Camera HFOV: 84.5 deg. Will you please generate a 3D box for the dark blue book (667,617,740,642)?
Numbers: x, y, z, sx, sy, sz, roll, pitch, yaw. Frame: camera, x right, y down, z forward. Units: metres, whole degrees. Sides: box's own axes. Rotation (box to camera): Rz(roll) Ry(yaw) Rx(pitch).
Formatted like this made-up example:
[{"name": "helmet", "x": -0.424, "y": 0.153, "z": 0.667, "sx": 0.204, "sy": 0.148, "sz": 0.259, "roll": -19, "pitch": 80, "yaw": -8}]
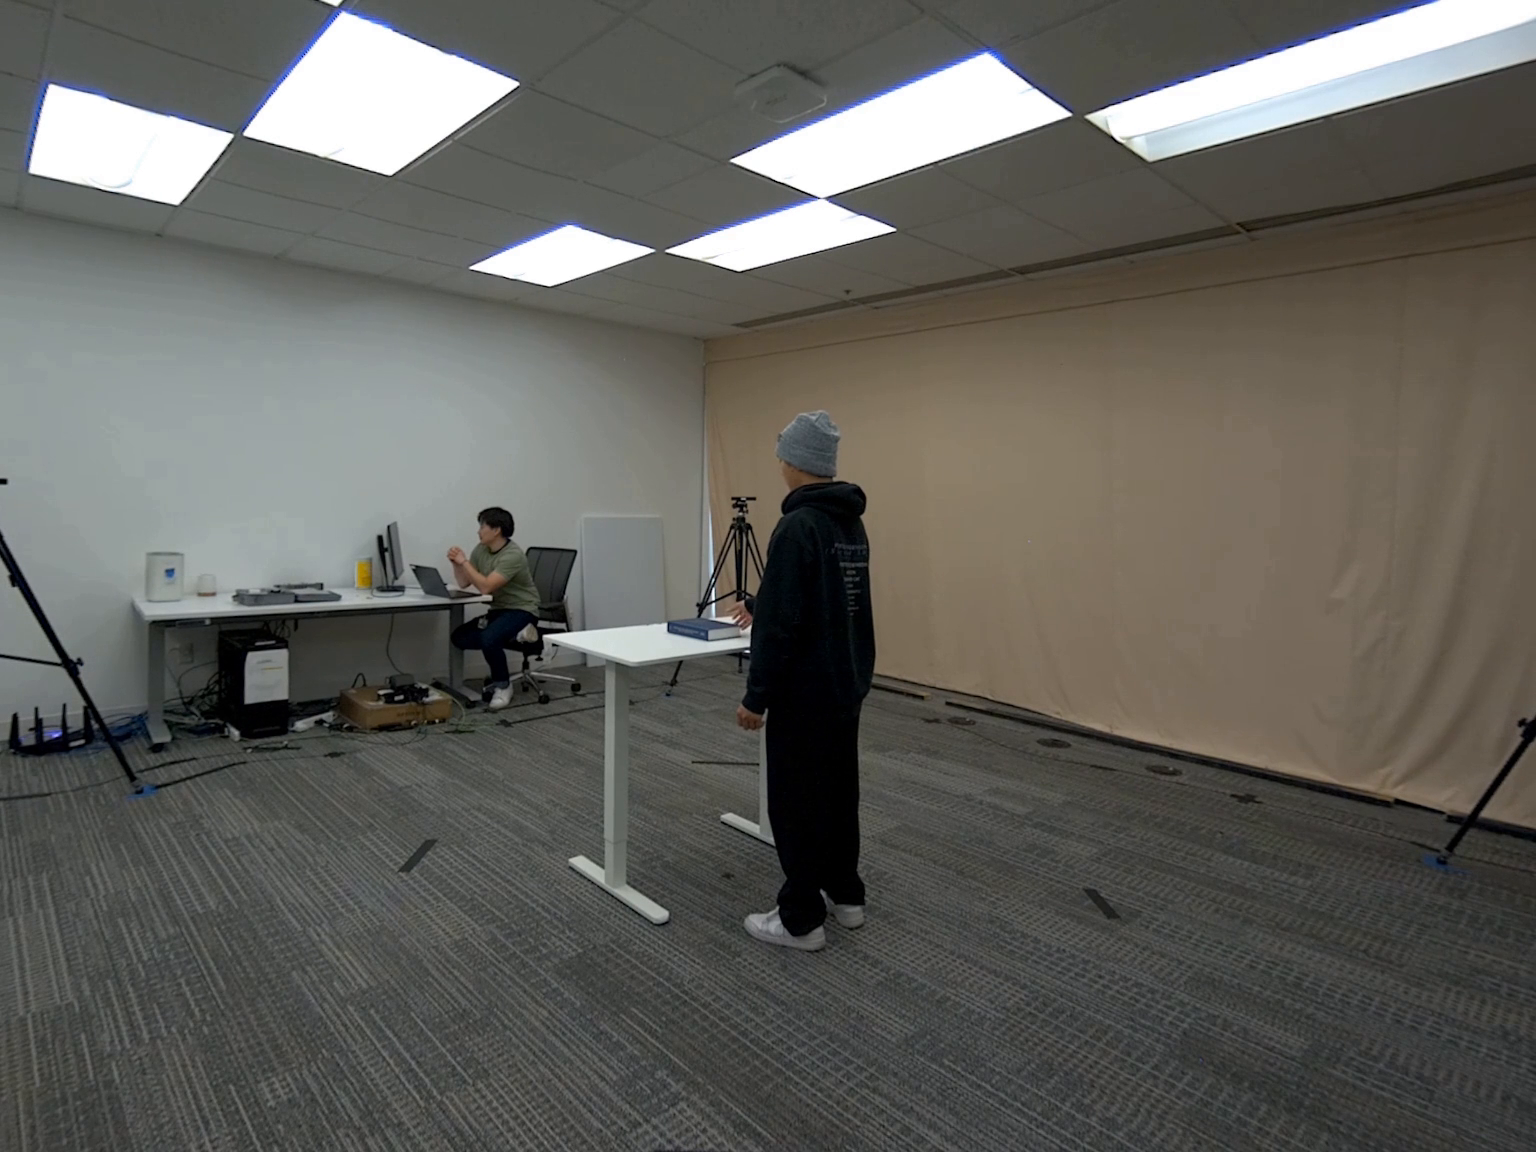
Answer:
[{"name": "dark blue book", "x": -0.249, "y": 0.201, "z": 3.133, "sx": 0.160, "sy": 0.045, "sz": 0.251, "roll": -4, "pitch": 7, "yaw": -41}]
